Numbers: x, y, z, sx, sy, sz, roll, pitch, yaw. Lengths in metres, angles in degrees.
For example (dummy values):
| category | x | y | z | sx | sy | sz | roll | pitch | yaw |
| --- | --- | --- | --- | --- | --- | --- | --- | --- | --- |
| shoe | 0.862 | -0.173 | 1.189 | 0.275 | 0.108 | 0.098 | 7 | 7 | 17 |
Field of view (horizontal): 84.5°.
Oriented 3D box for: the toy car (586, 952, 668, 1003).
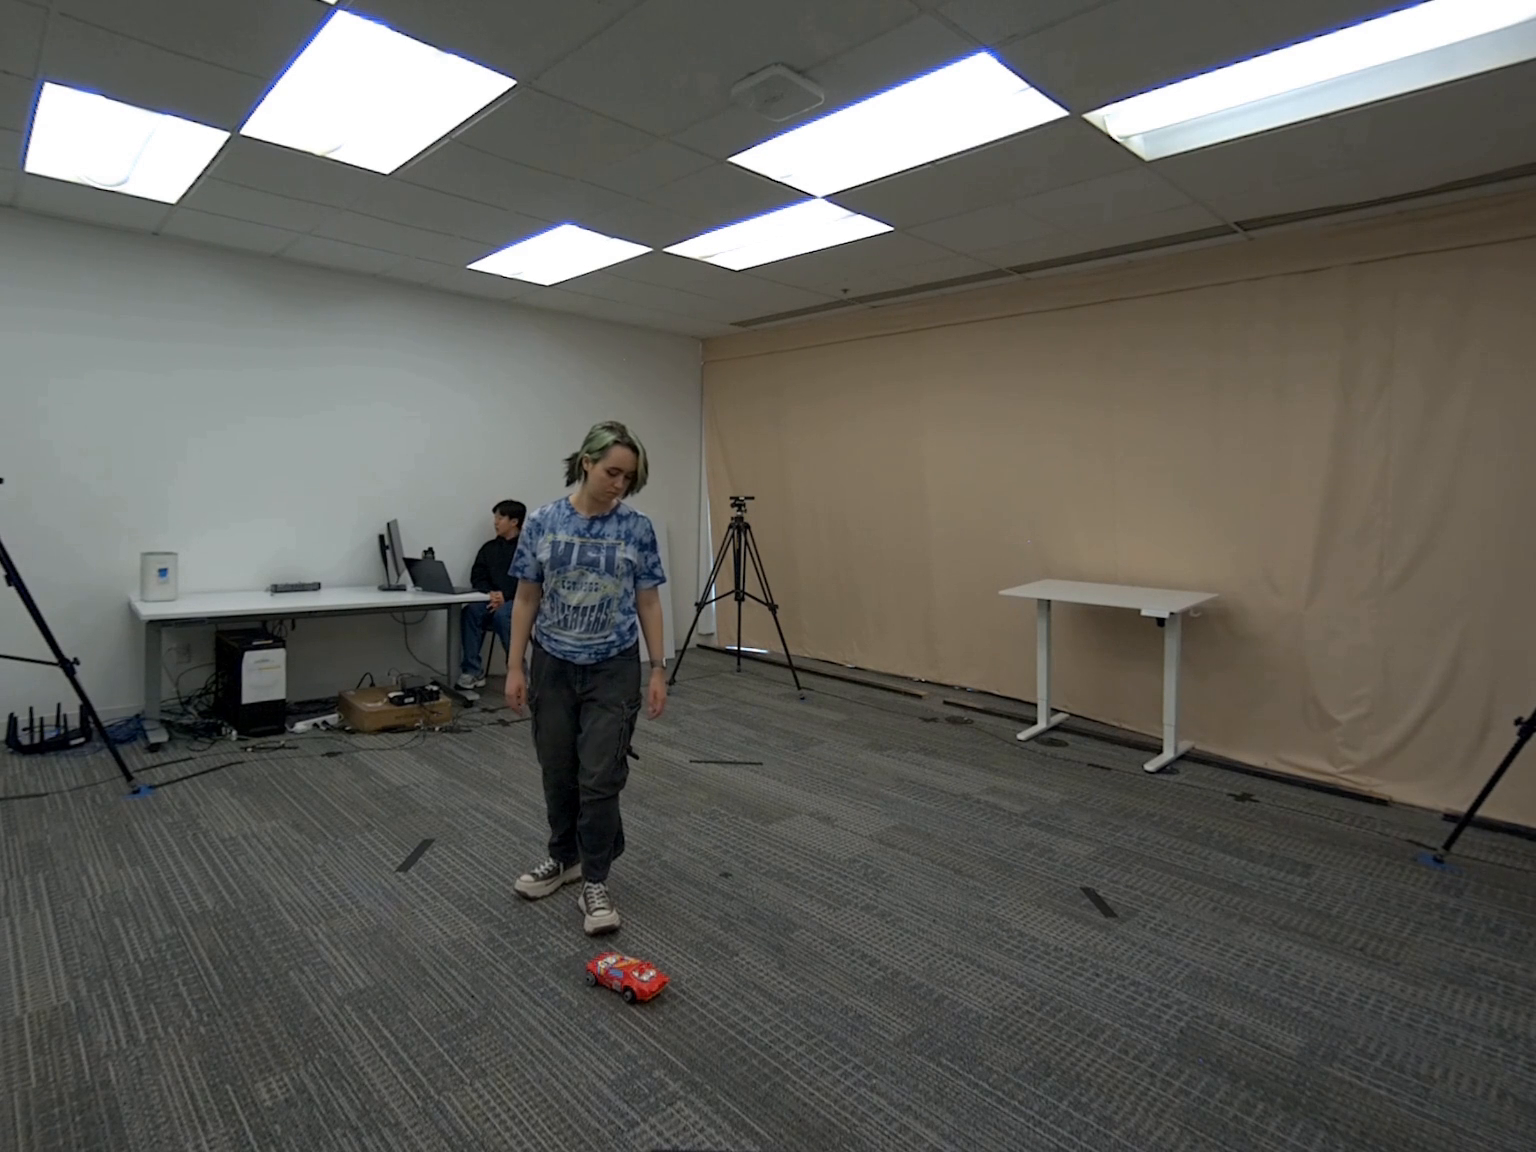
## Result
| category | x | y | z | sx | sy | sz | roll | pitch | yaw |
| --- | --- | --- | --- | --- | --- | --- | --- | --- | --- |
| toy car | -0.400 | 1.137 | 2.365 | 0.259 | 0.083 | 0.127 | -9 | -1 | 35 |
